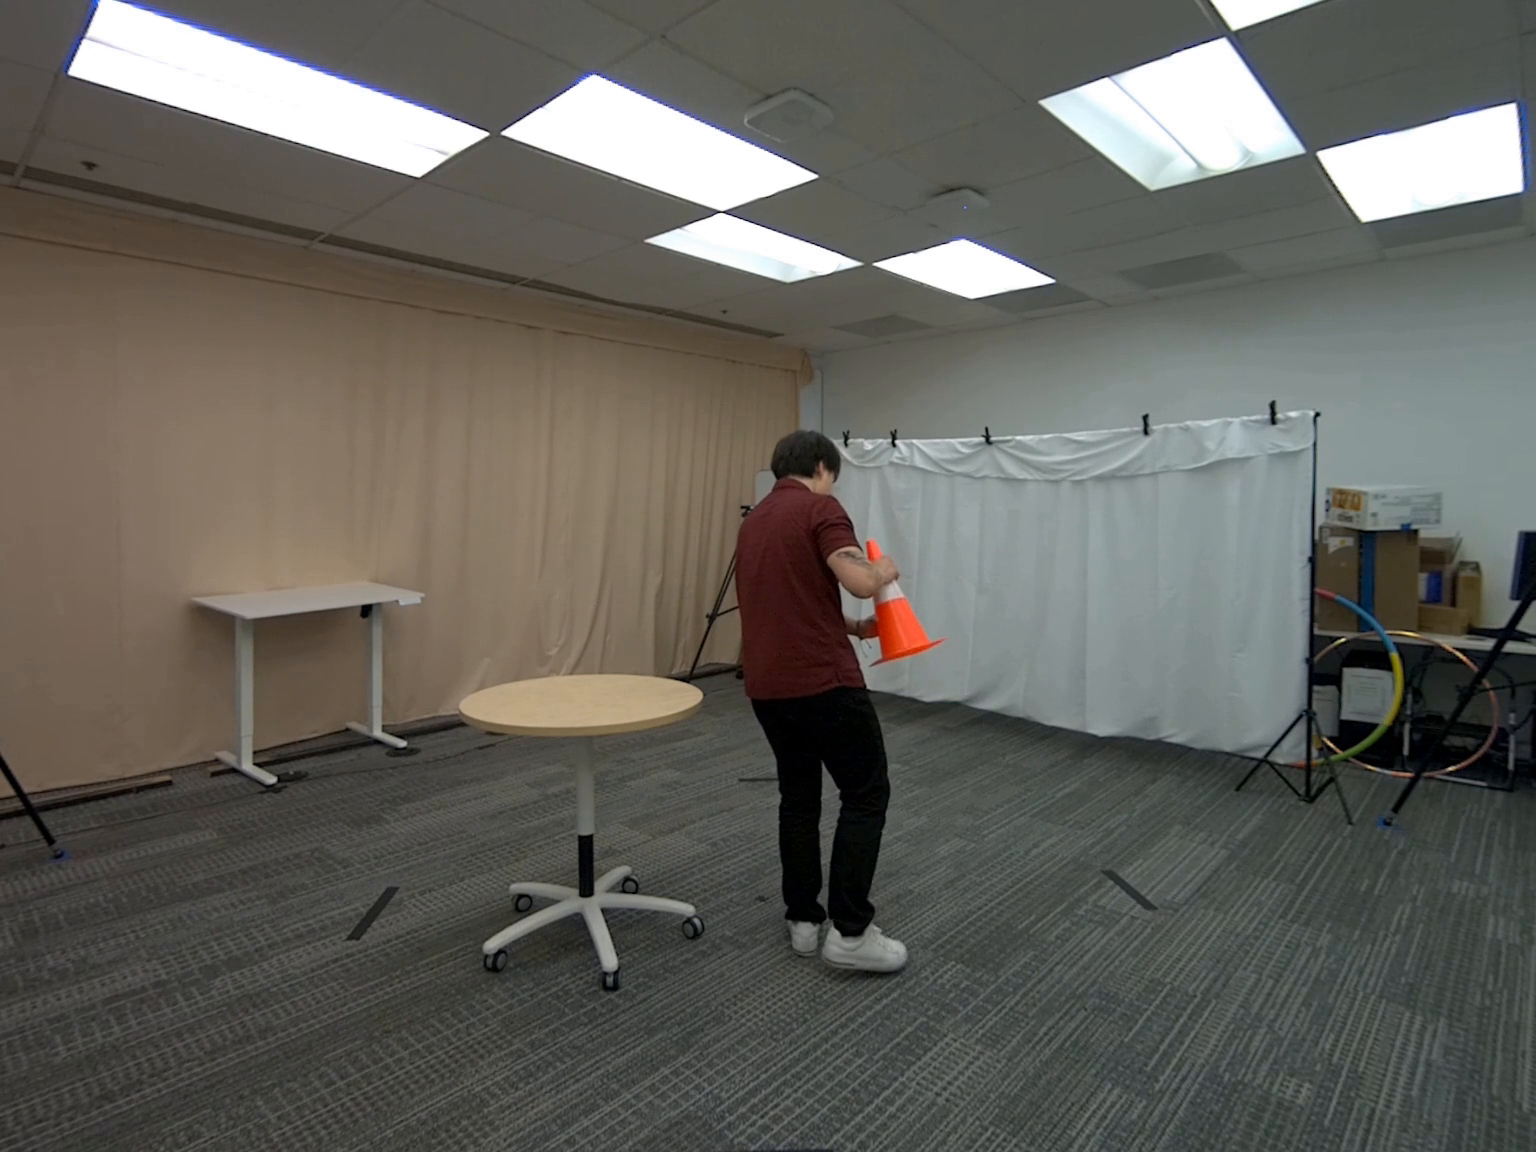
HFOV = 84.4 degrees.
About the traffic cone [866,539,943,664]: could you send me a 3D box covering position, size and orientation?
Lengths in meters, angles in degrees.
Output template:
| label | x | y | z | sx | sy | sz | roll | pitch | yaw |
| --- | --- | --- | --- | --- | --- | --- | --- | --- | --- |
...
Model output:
| label | x | y | z | sx | sy | sz | roll | pitch | yaw |
| --- | --- | --- | --- | --- | --- | --- | --- | --- | --- |
| traffic cone | 0.386 | 0.072 | 2.680 | 0.202 | 0.389 | 0.204 | -12 | -15 | -19 |
